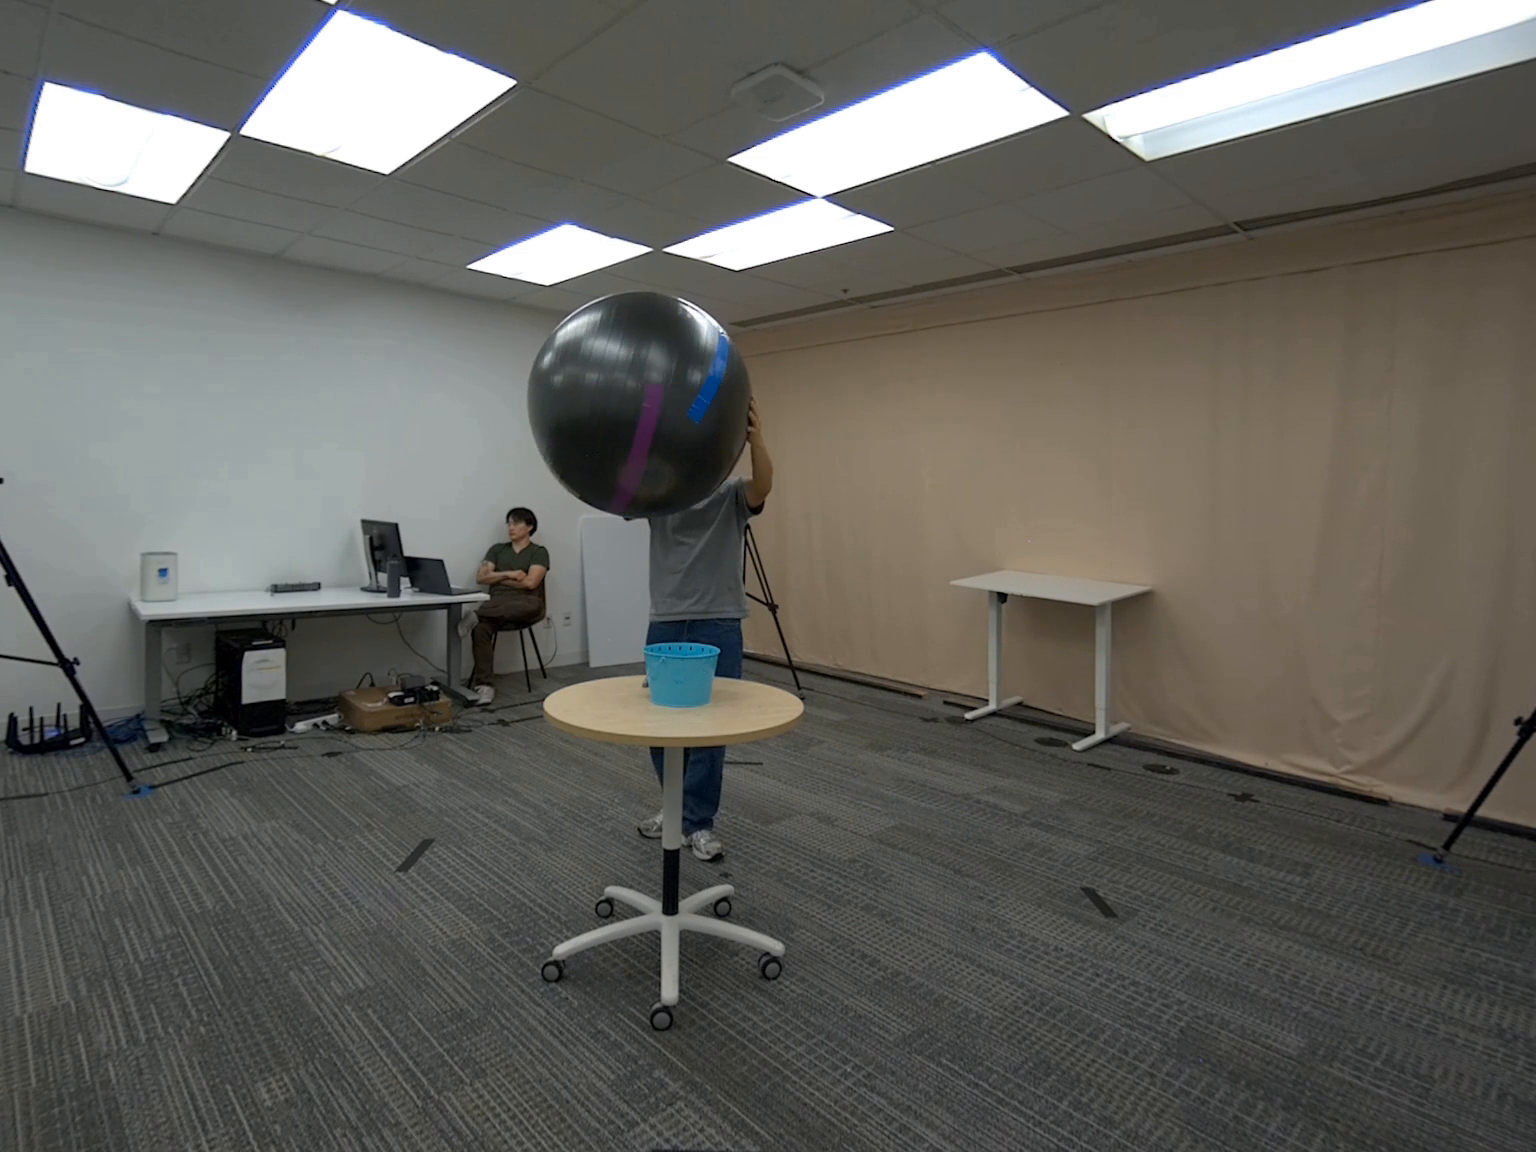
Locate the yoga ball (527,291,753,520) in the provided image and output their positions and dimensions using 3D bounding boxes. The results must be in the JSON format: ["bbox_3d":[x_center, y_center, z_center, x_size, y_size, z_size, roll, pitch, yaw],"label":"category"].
[{"bbox_3d":[-0.437,-0.571,2.872,0.757,0.756,0.761,1,4,-1],"label":"yoga ball"}]
